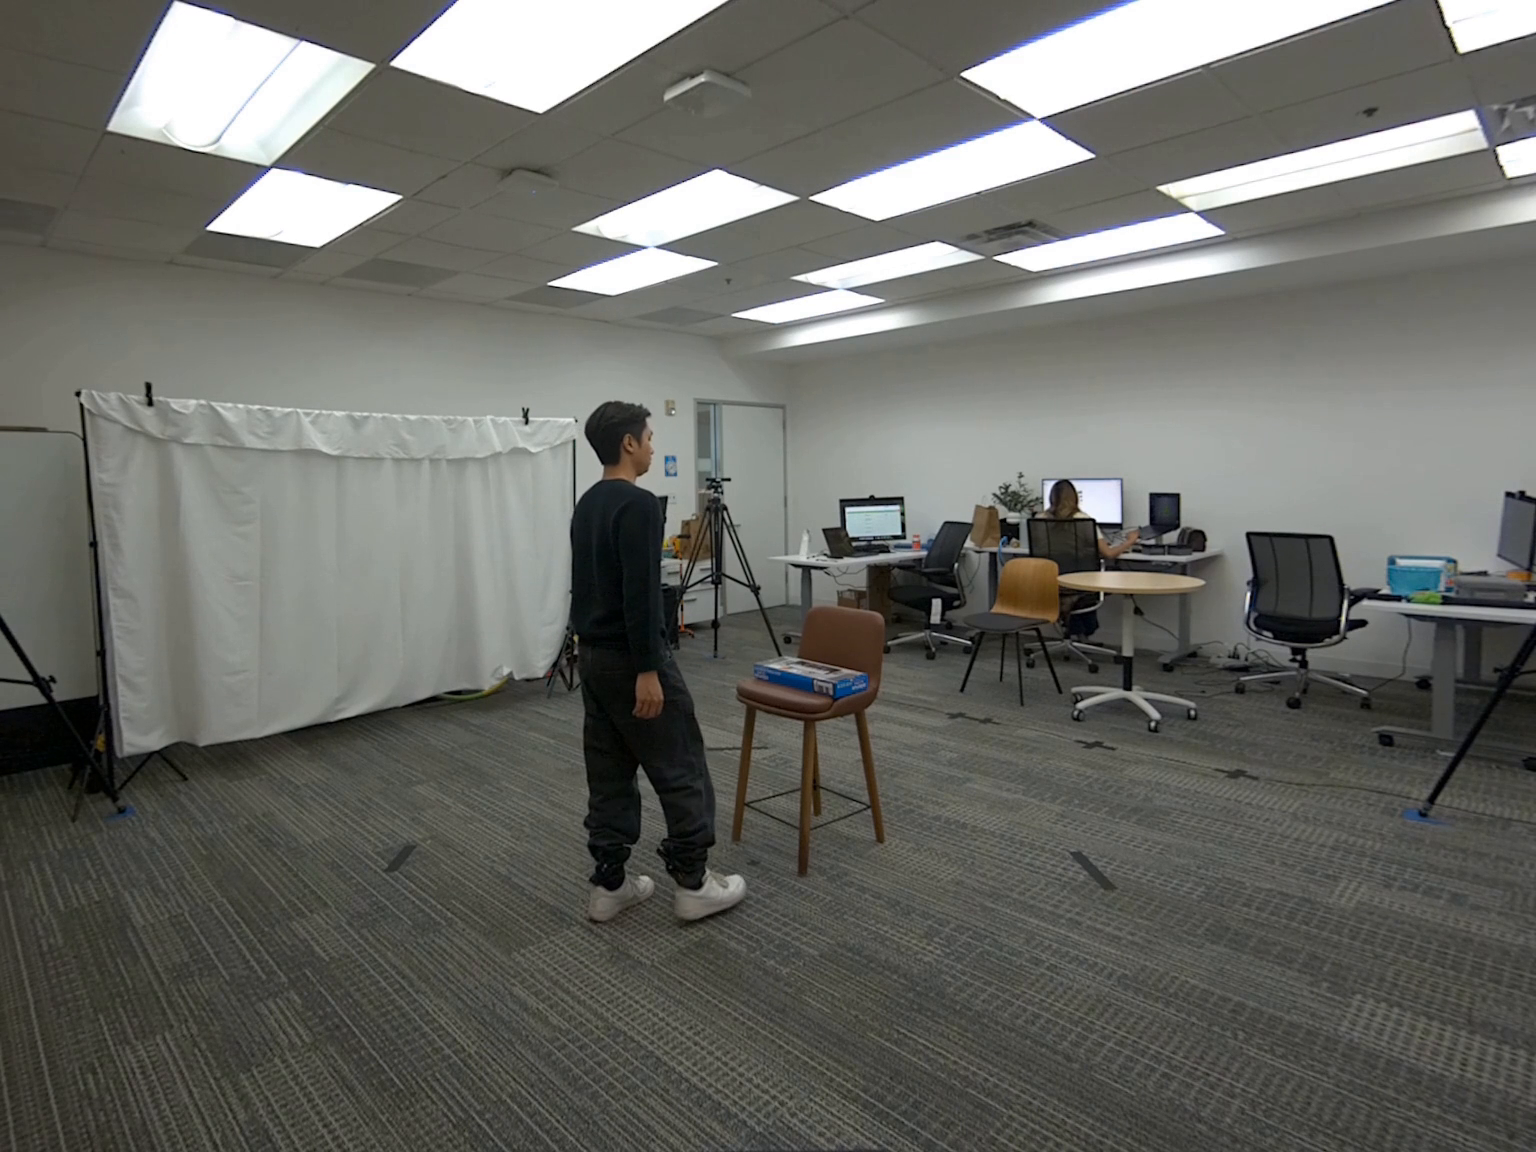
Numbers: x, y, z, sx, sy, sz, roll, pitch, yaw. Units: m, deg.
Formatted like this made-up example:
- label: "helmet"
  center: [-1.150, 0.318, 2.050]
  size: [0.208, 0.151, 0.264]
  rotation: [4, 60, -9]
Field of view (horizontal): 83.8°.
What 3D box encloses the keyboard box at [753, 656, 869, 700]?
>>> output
- label: "keyboard box"
  center: [0.156, 0.375, 3.239]
  size: [0.171, 0.059, 0.450]
  rotation: [-9, 10, -40]
